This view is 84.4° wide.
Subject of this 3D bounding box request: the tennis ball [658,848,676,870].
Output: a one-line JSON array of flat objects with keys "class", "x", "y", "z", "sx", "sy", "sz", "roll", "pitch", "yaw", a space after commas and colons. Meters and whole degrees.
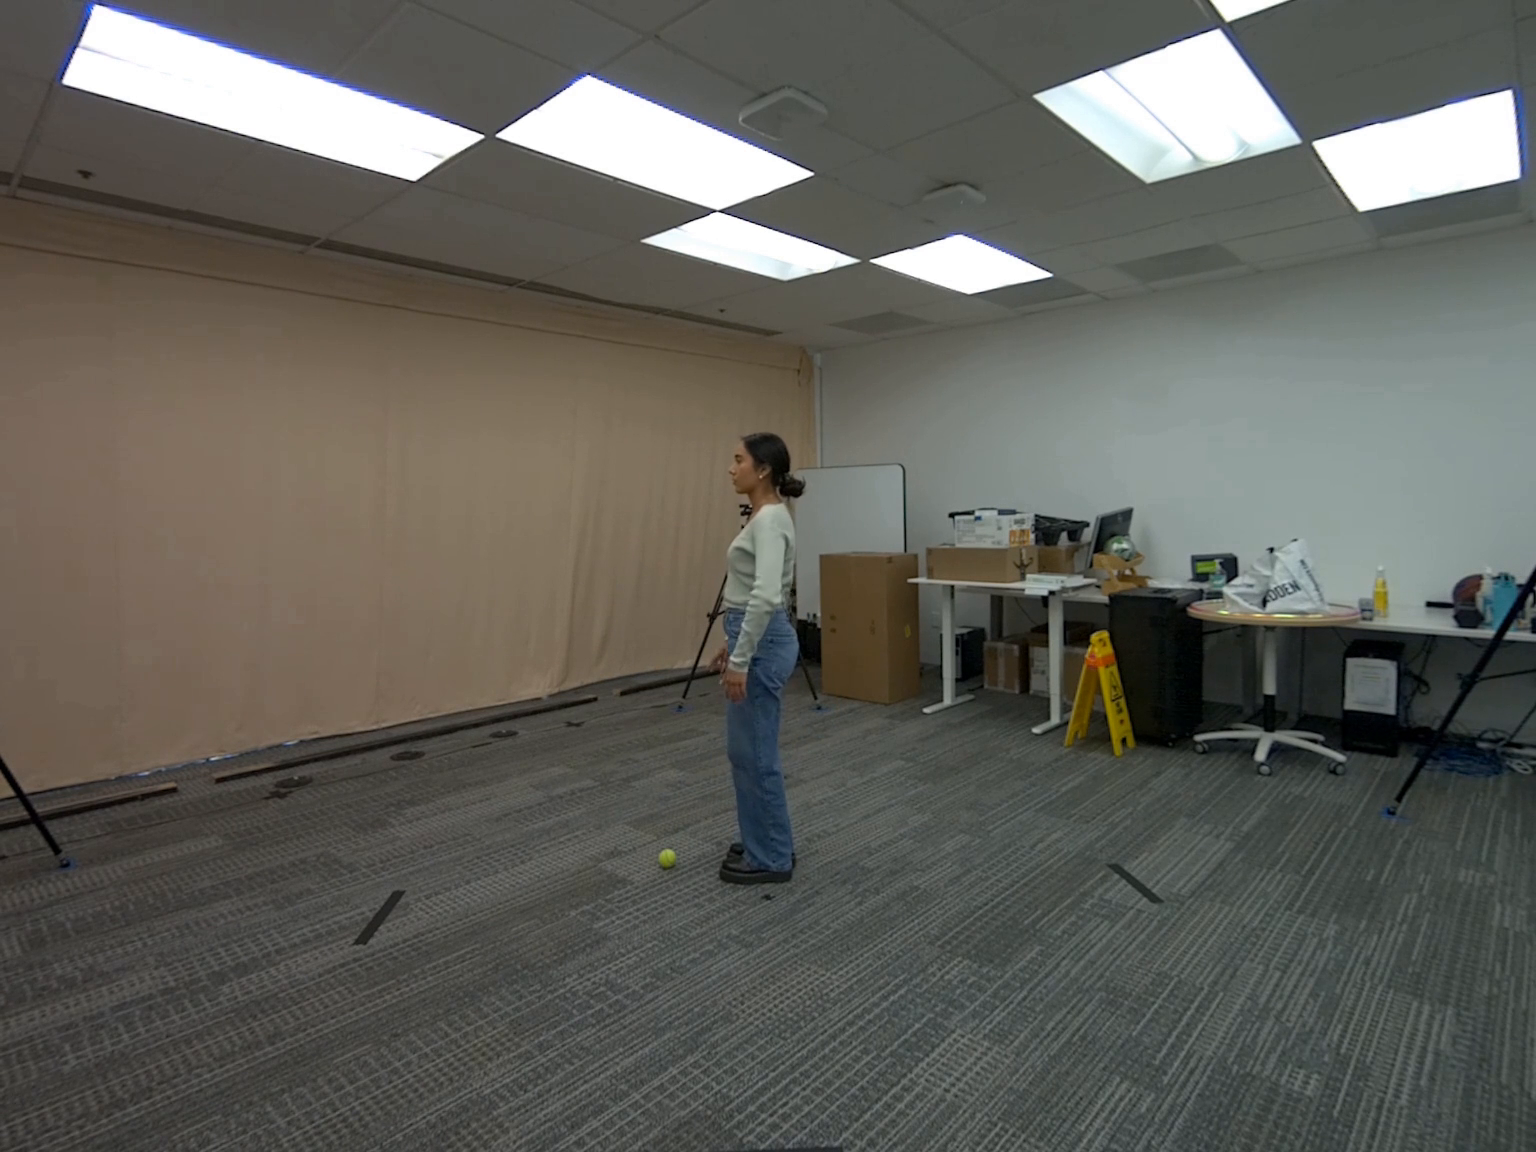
[{"class": "tennis ball", "x": -0.384, "y": 1.085, "z": 3.241, "sx": 0.066, "sy": 0.066, "sz": 0.067, "roll": -1, "pitch": 4, "yaw": -2}]
